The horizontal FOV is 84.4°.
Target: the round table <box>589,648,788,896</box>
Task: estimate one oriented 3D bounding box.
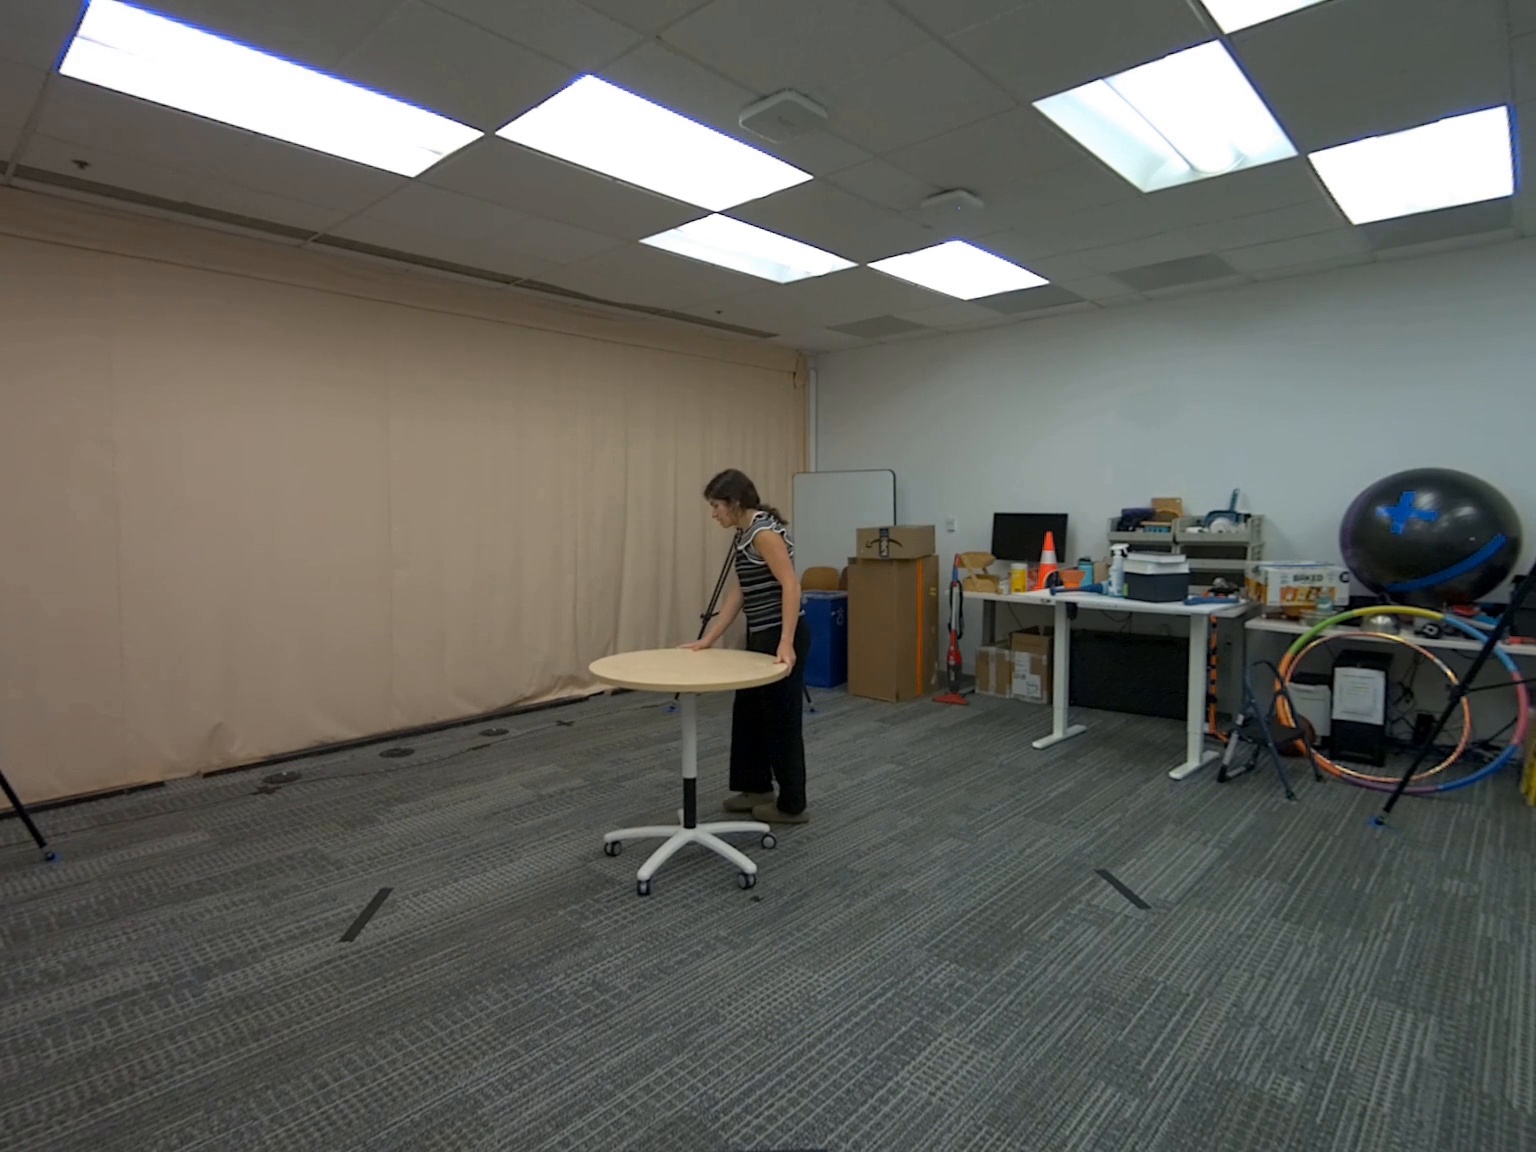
[{"bbox_3d":[-0.305,0.733,3.273,0.763,0.792,0.766,-1,3,-2],"label":"round table"}]
